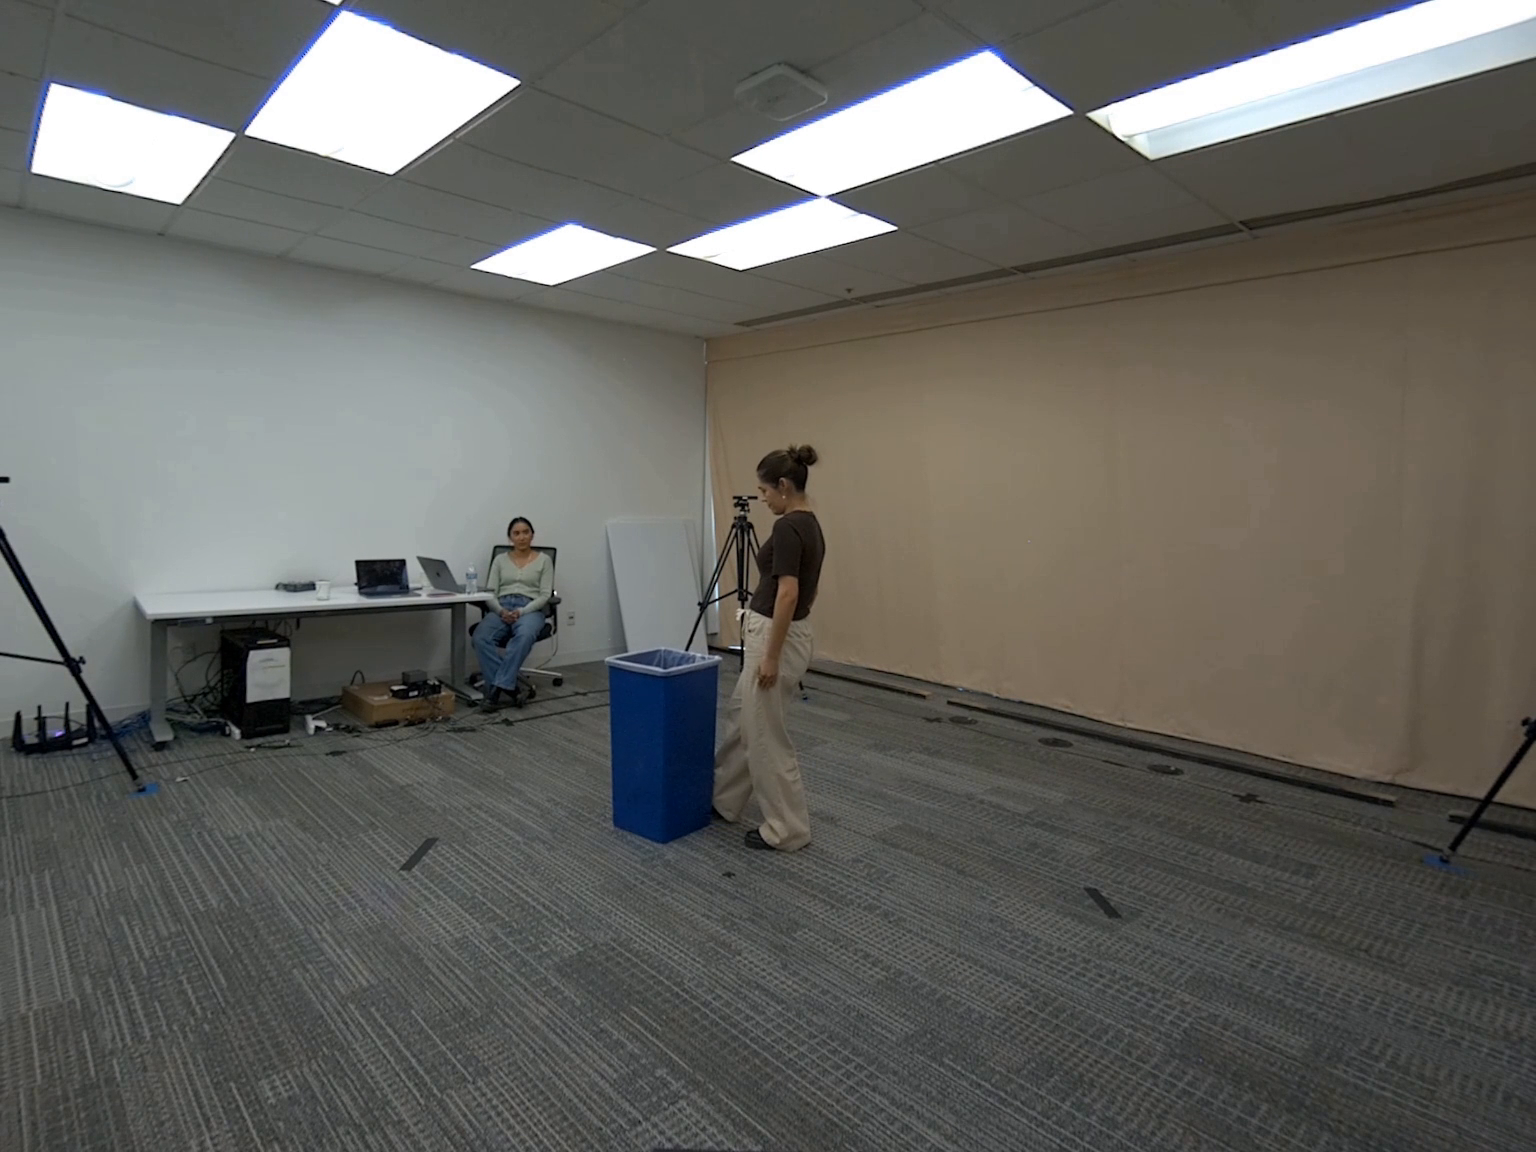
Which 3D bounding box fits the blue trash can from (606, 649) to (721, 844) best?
[{"bbox_3d":[-0.456,0.694,3.546,0.383,0.711,0.370,5,5,37],"label":"blue trash can"}]
